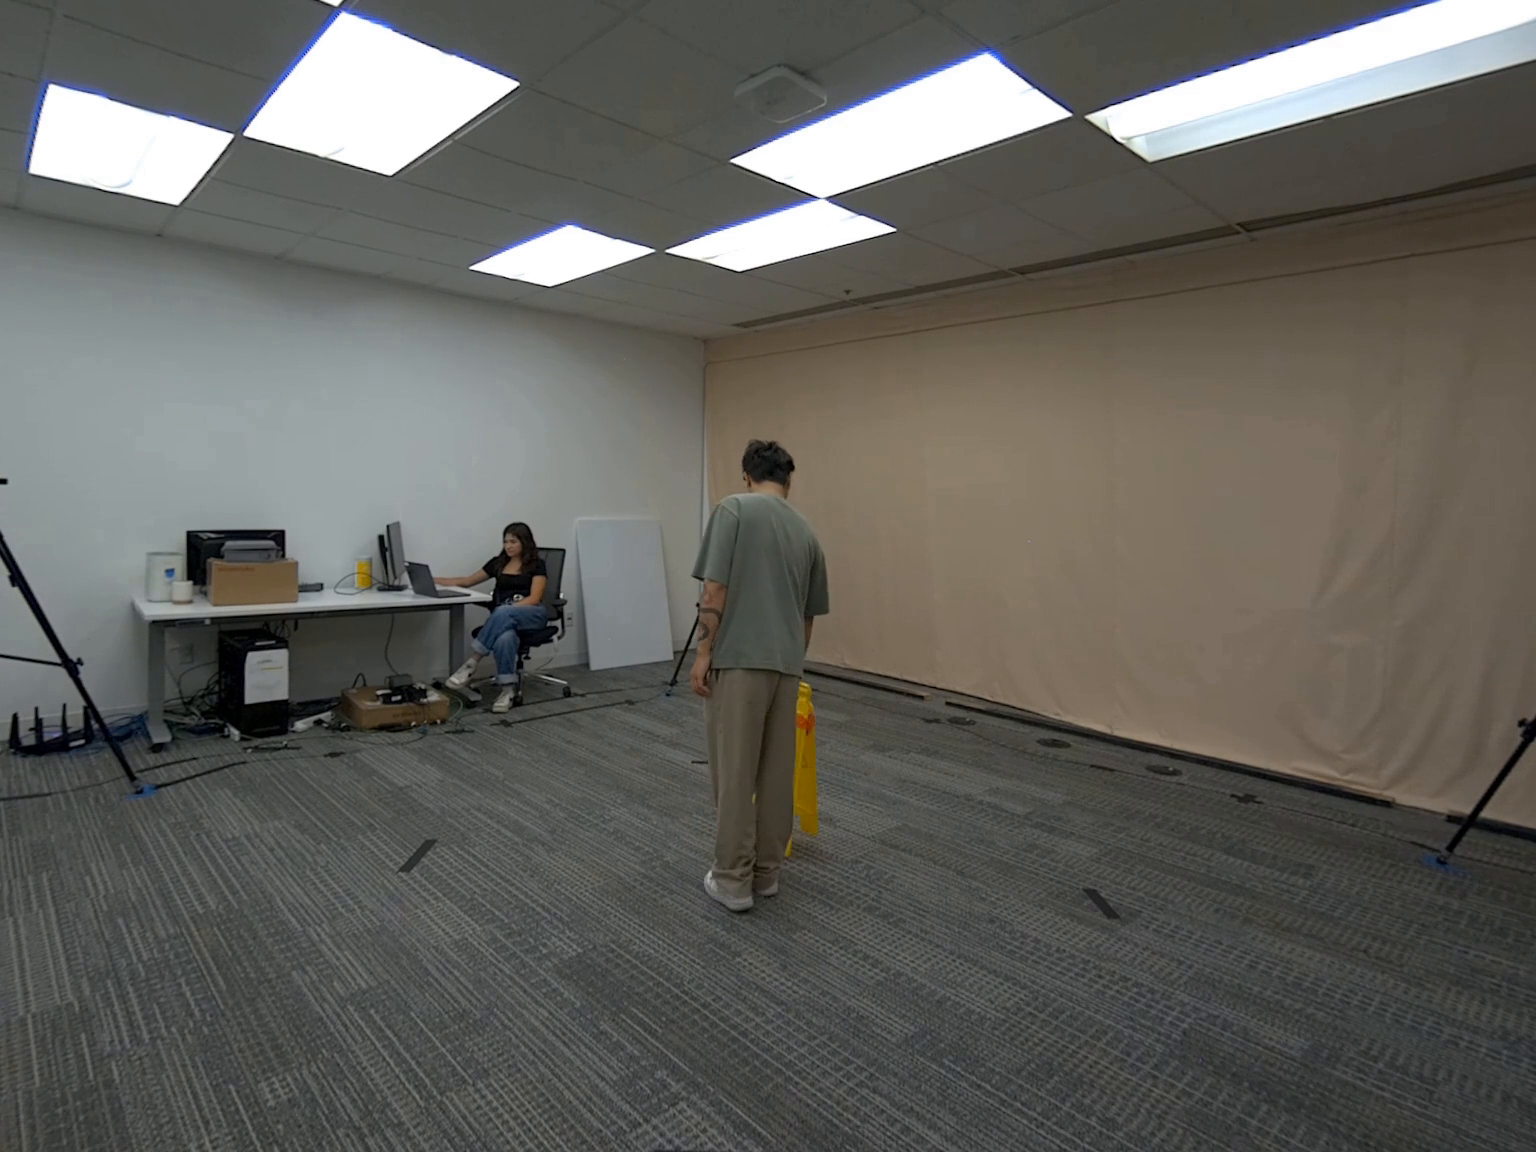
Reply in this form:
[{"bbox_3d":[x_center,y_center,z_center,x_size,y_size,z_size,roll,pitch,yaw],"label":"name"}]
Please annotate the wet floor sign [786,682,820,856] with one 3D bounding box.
[{"bbox_3d":[0.046,0.730,3.345,0.289,0.643,0.284,8,8,31],"label":"wet floor sign"}]
